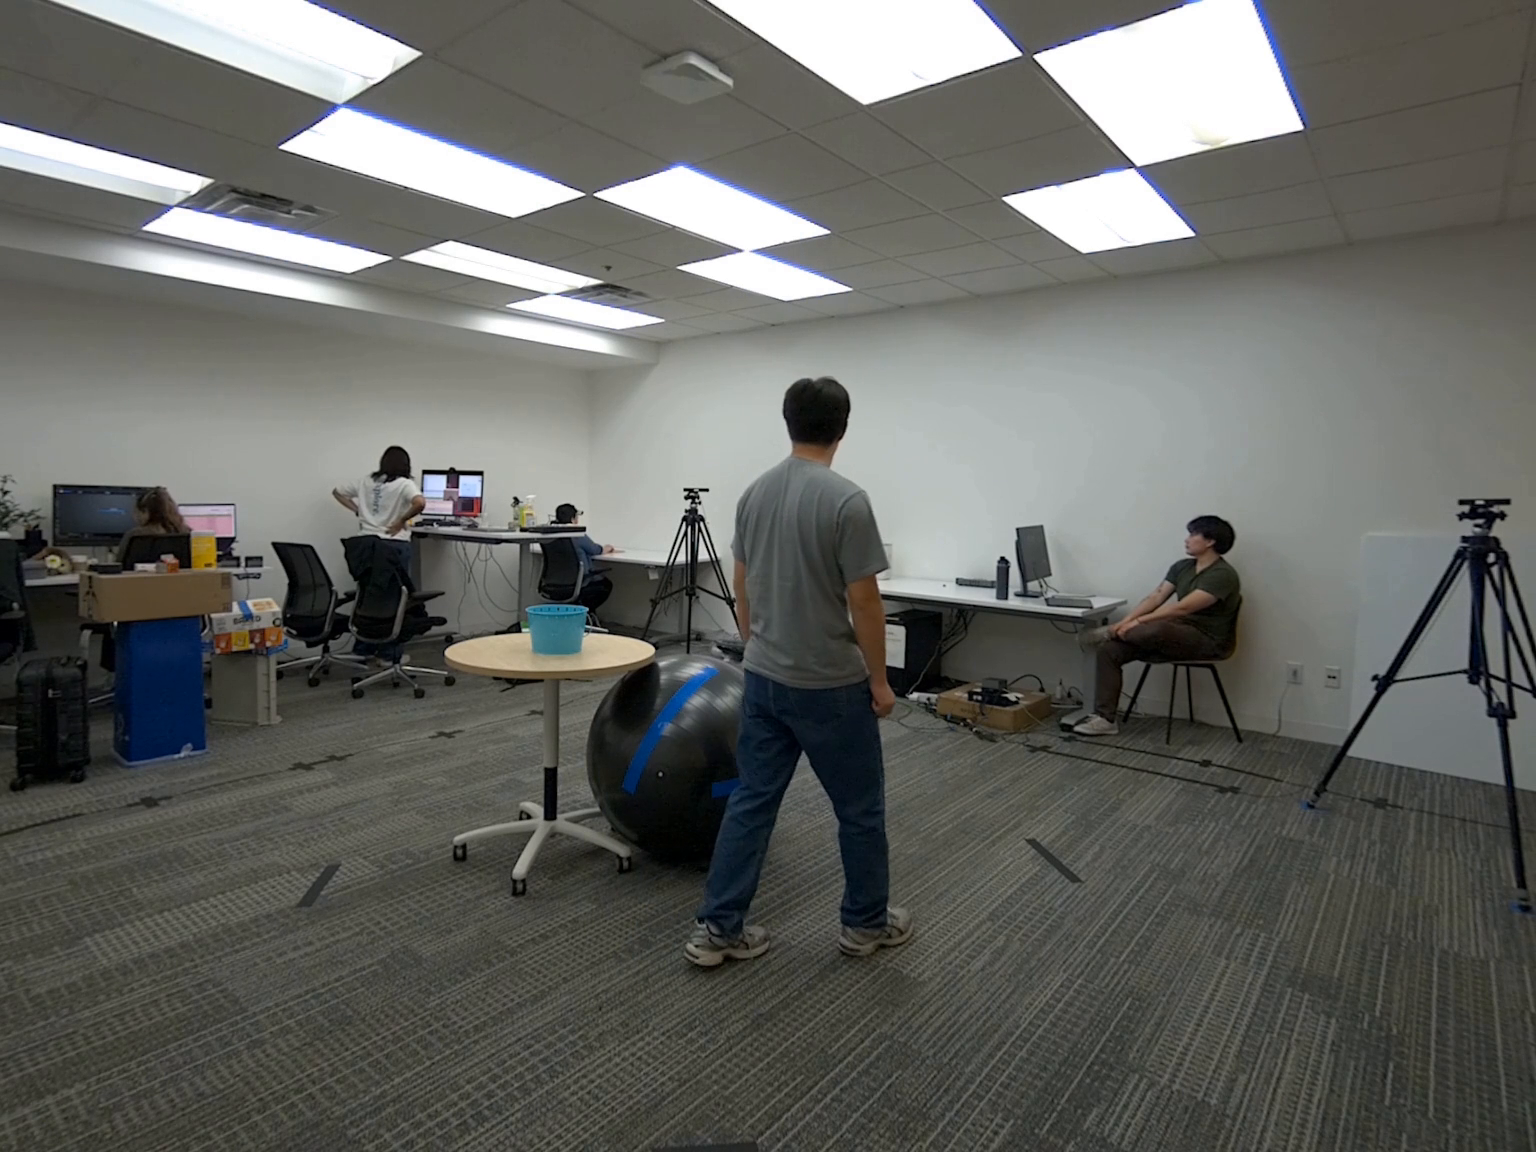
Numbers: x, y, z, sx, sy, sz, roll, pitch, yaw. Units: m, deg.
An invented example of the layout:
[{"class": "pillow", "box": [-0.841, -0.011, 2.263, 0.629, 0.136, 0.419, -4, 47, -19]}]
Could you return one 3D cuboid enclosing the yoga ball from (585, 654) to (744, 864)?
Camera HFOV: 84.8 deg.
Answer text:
[{"class": "yoga ball", "box": [-0.325, 0.683, 3.264, 0.757, 0.755, 0.762, 1, 4, -2]}]
